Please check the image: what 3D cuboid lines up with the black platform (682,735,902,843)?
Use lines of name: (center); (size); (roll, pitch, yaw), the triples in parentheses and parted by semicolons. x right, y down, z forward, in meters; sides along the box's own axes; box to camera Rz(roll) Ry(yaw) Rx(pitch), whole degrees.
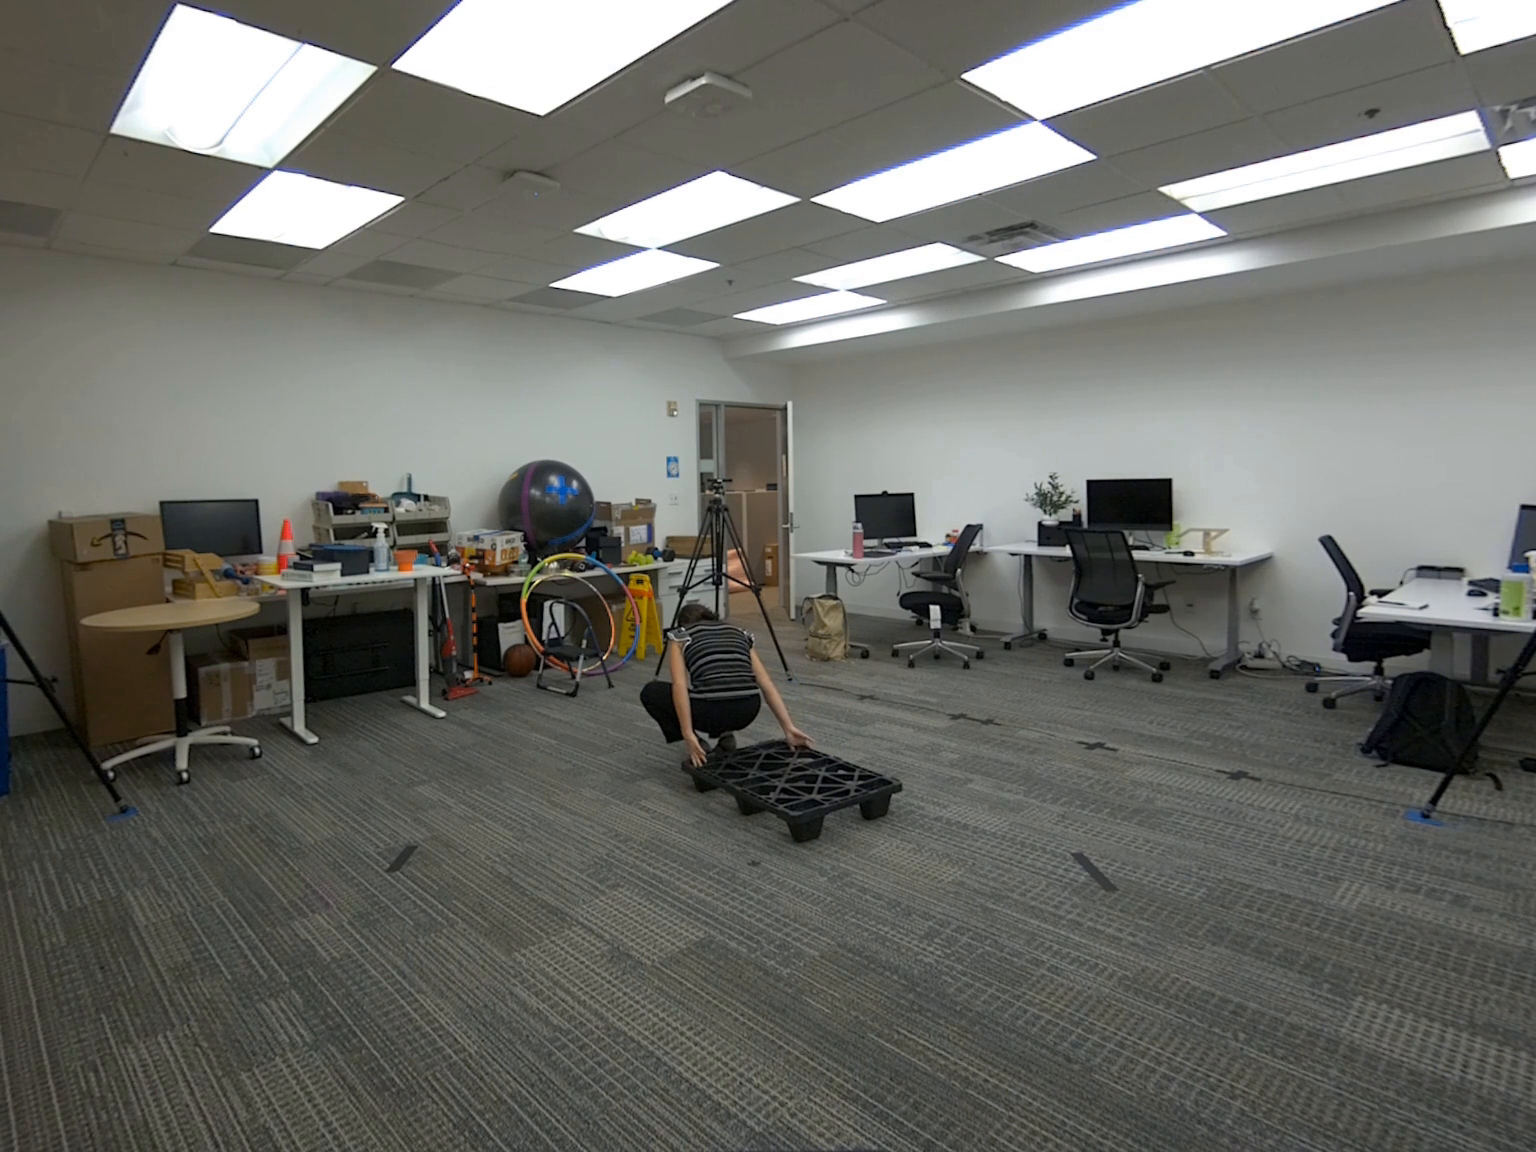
black platform: (0.087, 0.907, 3.695); (0.589, 0.143, 0.830); (-5, 7, -37)
